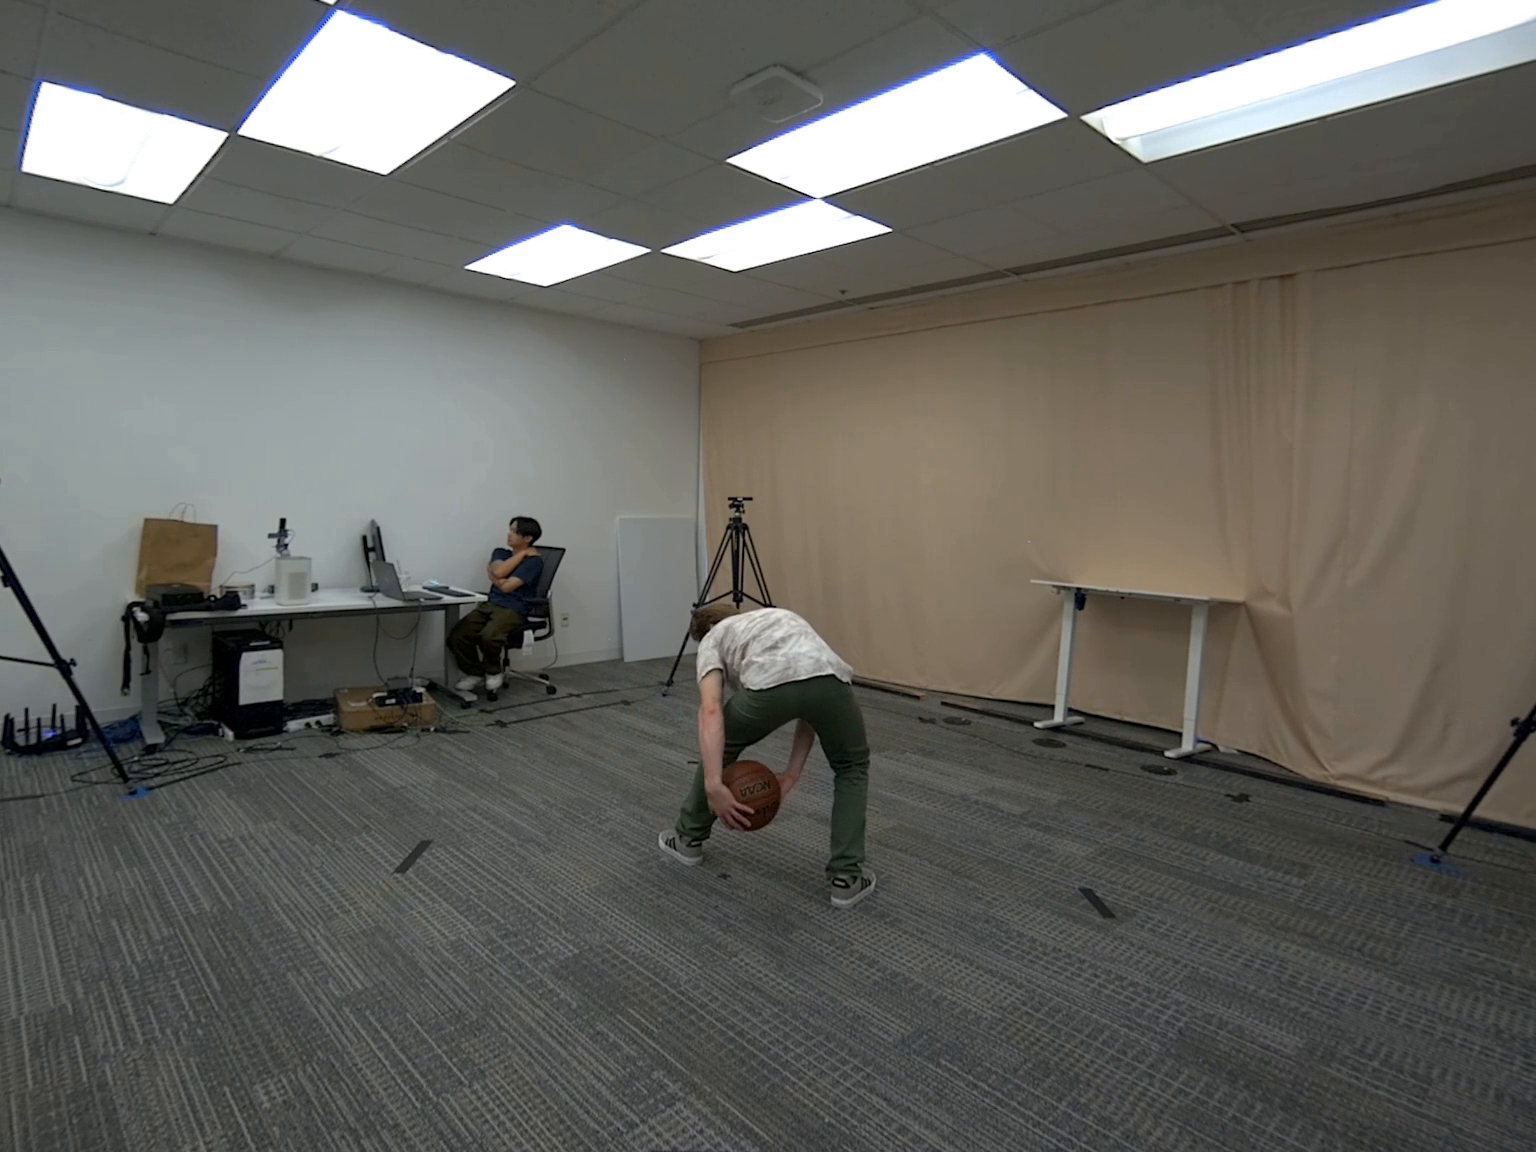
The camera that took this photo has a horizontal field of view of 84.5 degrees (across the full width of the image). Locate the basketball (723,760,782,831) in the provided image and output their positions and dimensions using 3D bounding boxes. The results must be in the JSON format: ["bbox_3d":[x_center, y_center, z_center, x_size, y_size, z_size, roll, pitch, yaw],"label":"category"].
[{"bbox_3d":[-0.078,0.761,2.924,0.236,0.235,0.237,1,4,-1],"label":"basketball"}]
